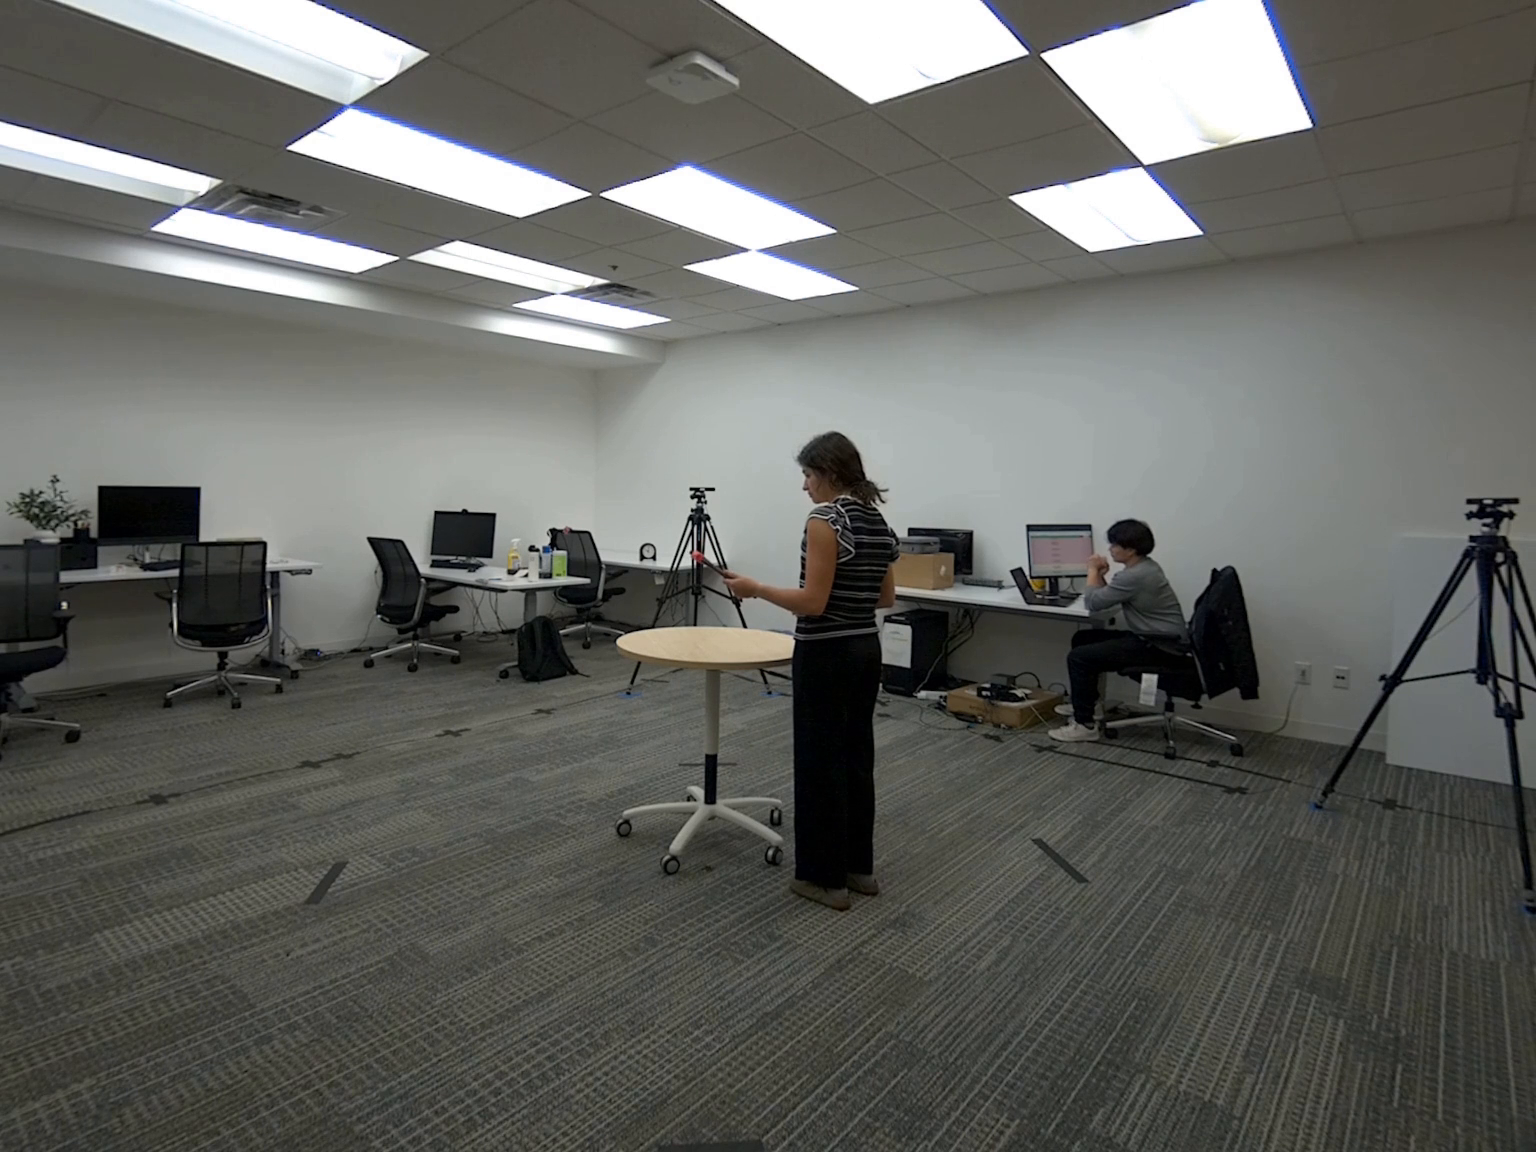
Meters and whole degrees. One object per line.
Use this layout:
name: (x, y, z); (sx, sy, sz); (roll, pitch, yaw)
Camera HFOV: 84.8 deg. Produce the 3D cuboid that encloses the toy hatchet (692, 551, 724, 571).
toy hatchet: (-0.158, -0.017, 2.937); (0.266, 0.029, 0.132); (29, -6, -10)
